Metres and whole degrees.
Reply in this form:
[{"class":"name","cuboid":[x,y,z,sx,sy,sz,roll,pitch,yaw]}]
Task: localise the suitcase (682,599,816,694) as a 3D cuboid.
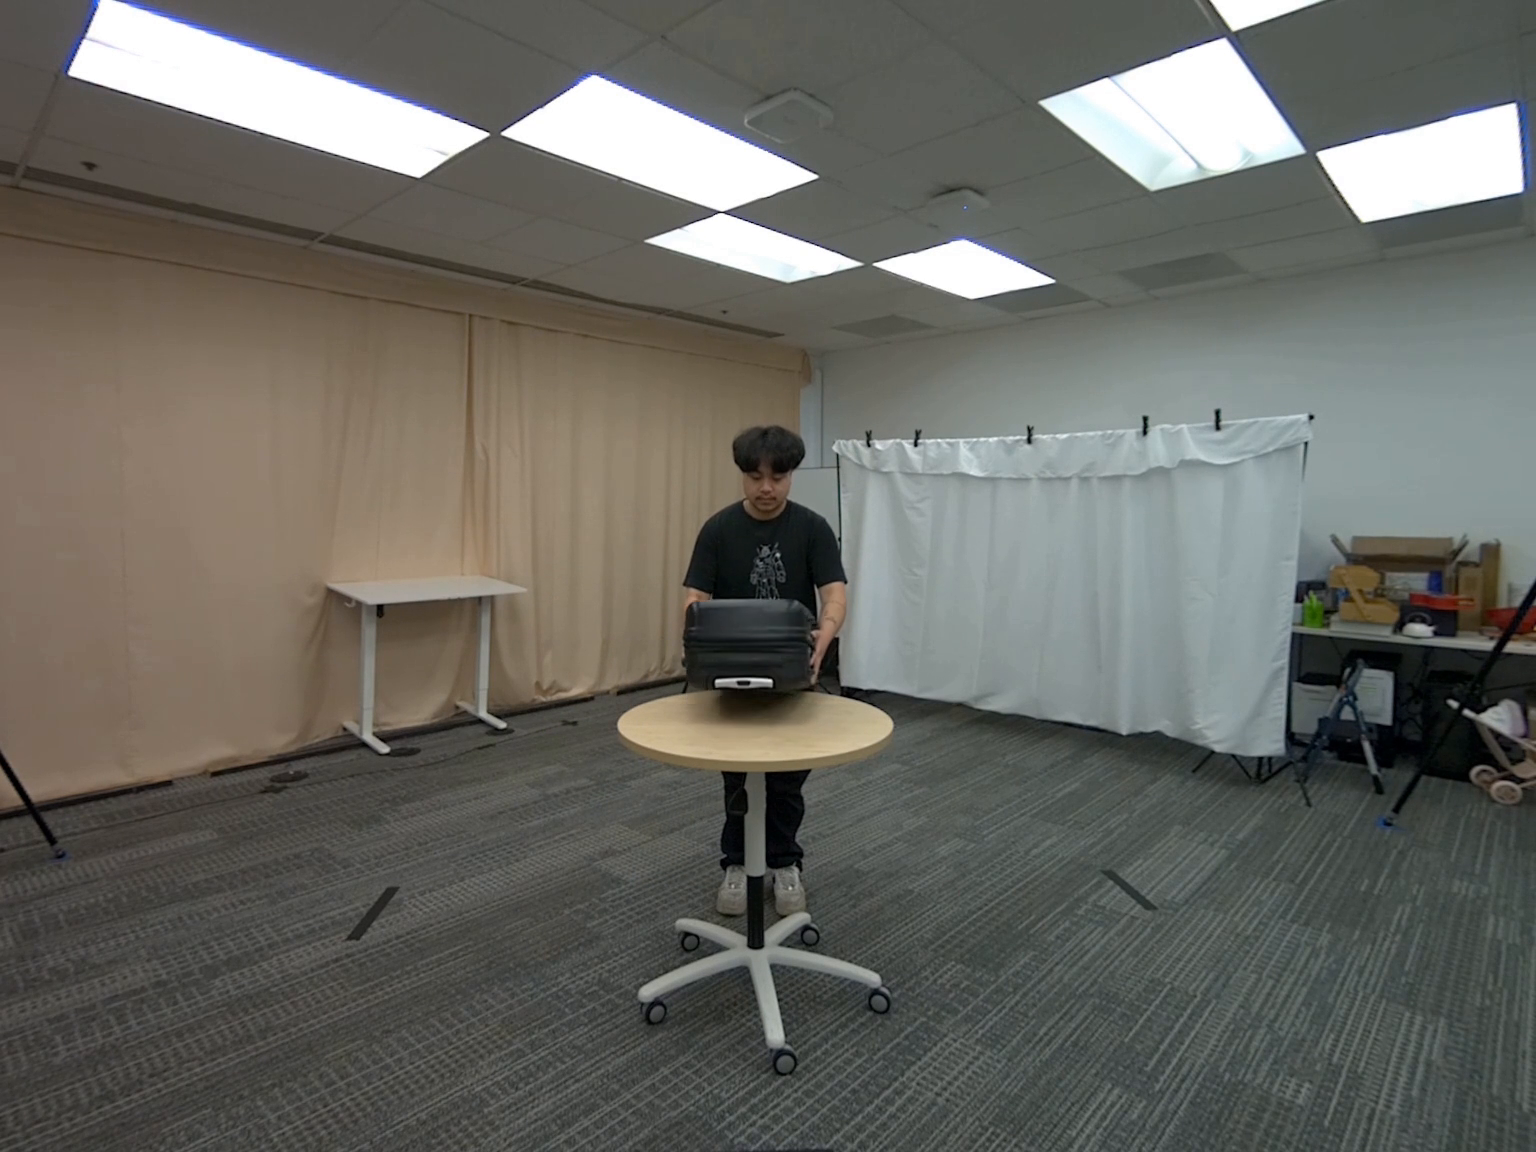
[{"class":"suitcase","cuboid":[-0.040,0.210,2.520,0.379,0.249,0.541,0,-7,8]}]
